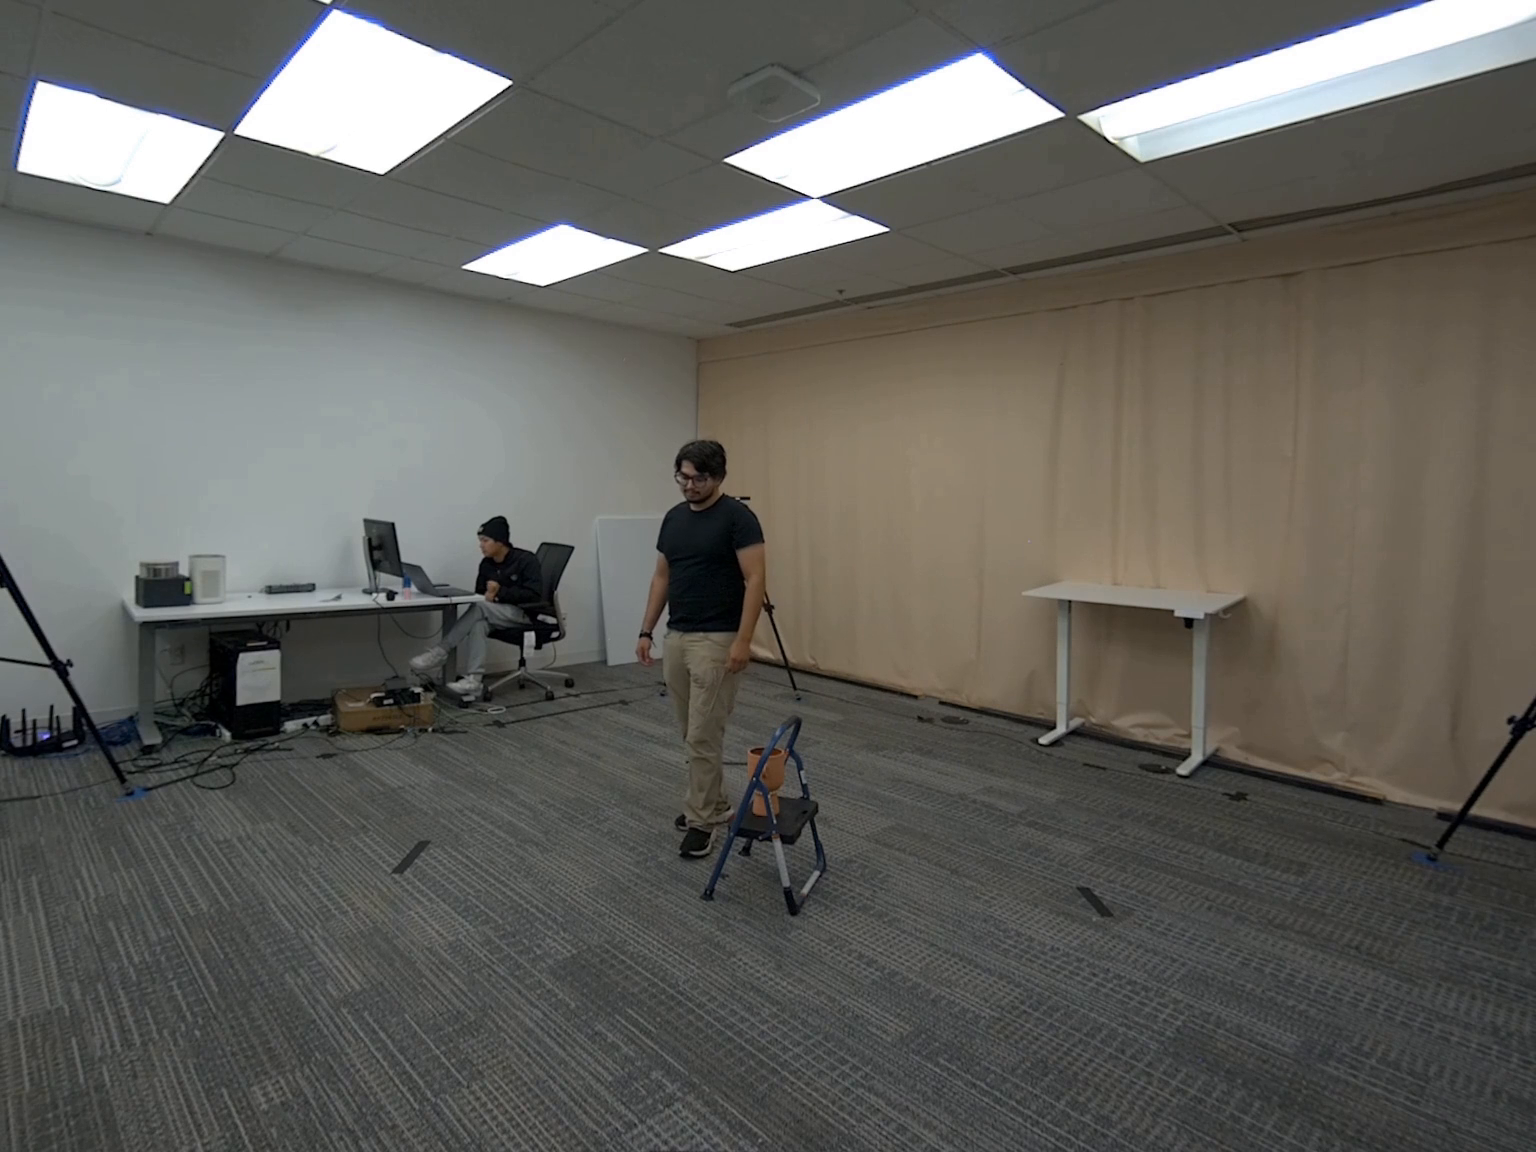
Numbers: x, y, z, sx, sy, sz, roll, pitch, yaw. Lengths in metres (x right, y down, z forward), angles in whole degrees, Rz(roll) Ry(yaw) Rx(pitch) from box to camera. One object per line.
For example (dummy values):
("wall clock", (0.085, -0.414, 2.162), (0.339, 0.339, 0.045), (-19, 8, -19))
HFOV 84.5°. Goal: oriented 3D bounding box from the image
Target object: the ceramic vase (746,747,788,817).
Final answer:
("ceramic vase", (-0.017, 0.745, 3.040), (0.138, 0.219, 0.155), (3, 4, 44))
